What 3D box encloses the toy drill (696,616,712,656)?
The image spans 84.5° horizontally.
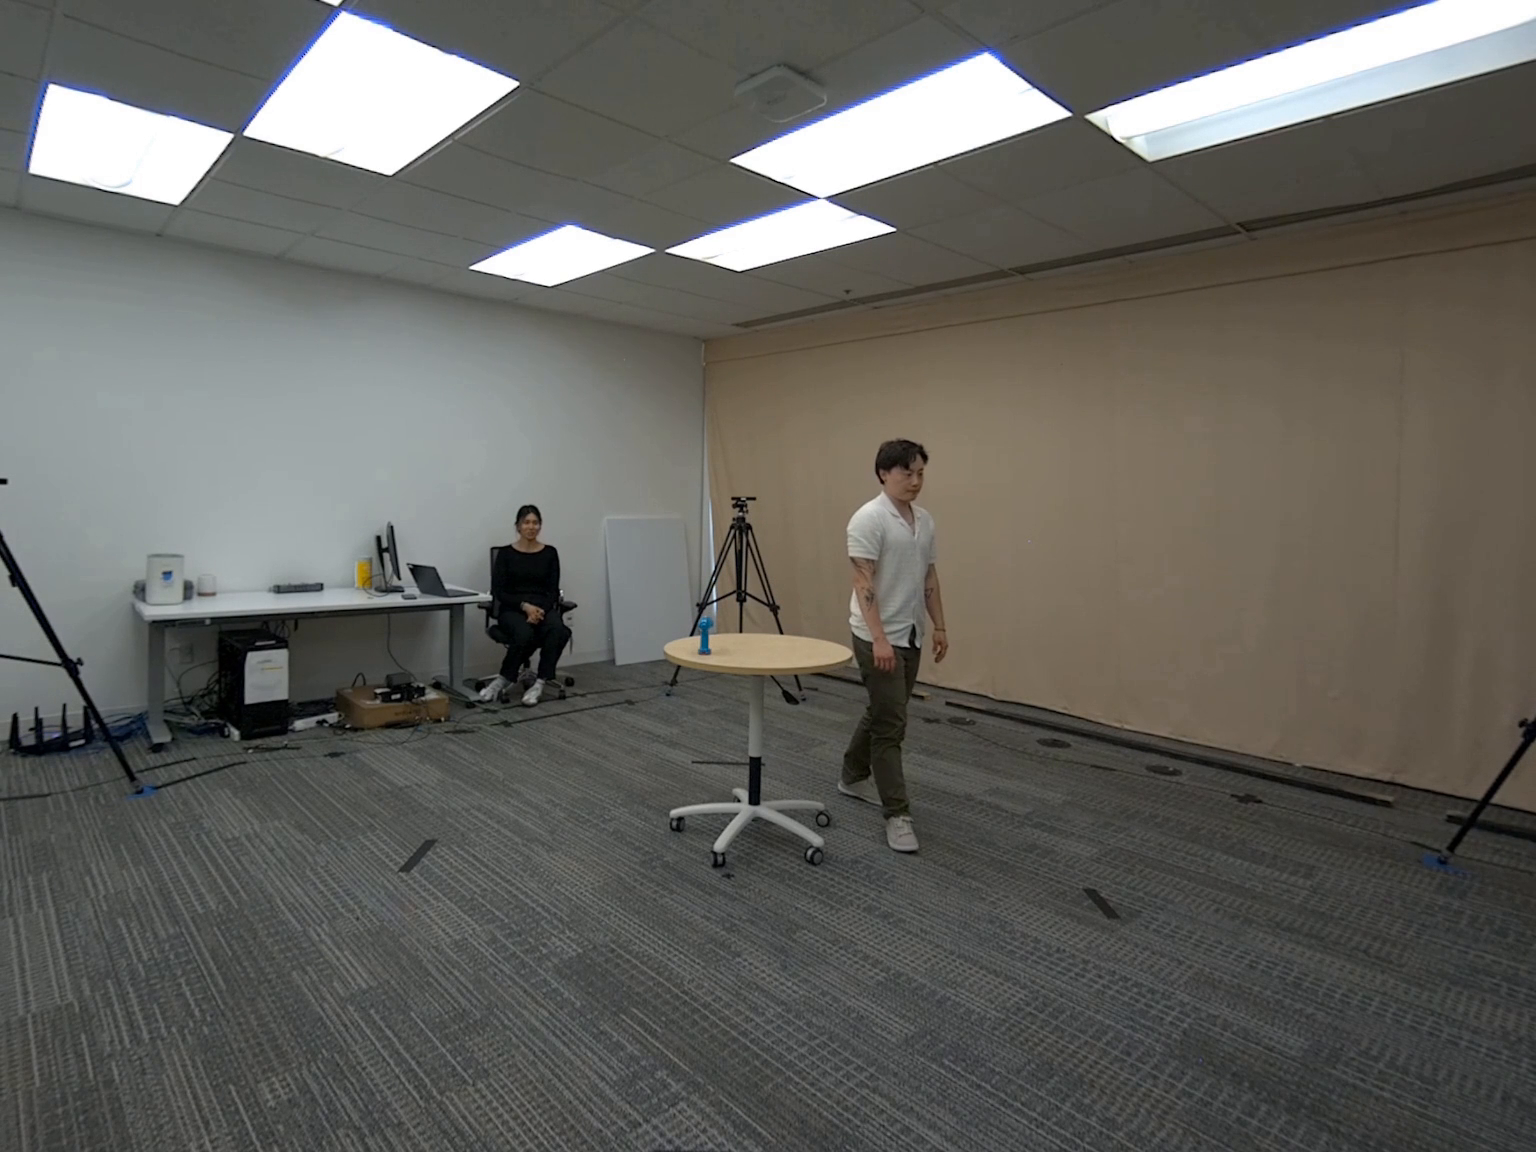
[{"bbox_3d":[-0.253,0.226,3.343,0.061,0.145,0.170,0,5,0],"label":"toy drill"}]
